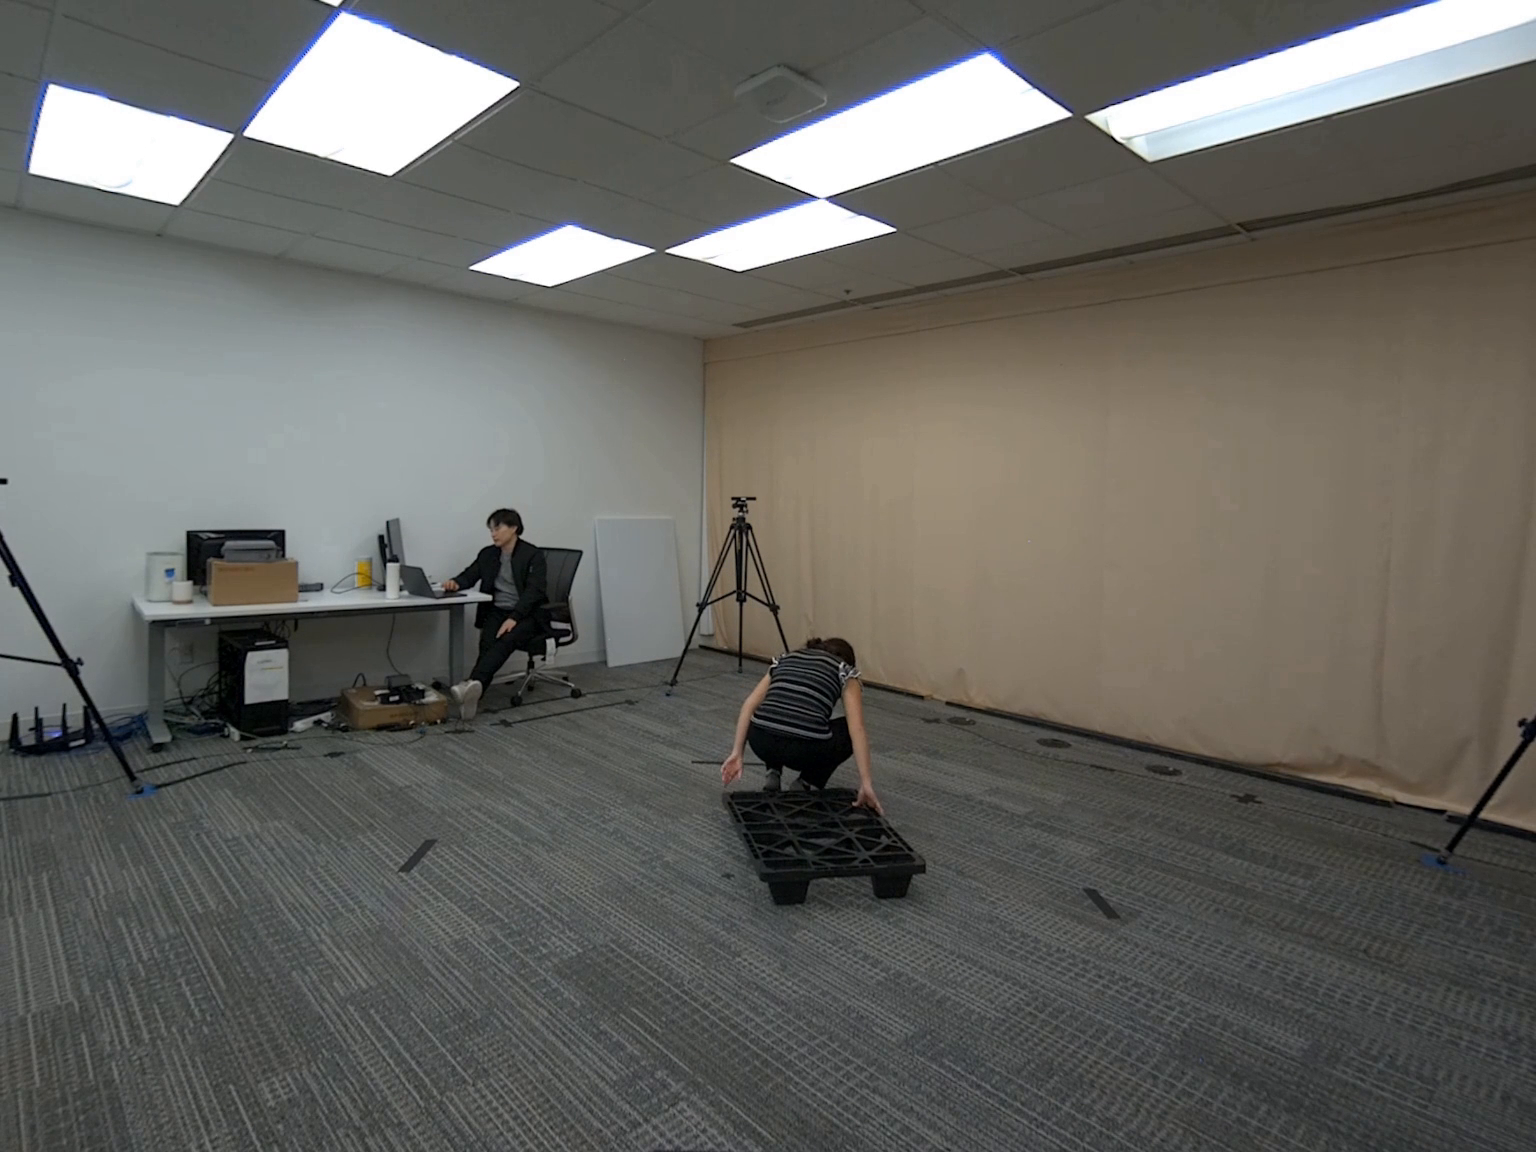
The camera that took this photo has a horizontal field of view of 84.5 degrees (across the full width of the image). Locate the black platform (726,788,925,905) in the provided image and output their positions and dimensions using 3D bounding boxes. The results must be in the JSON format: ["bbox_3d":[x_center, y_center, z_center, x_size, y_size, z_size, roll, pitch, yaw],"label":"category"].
[{"bbox_3d":[0.169,1.032,3.276,0.600,0.143,0.815,1,5,-12],"label":"black platform"}]
